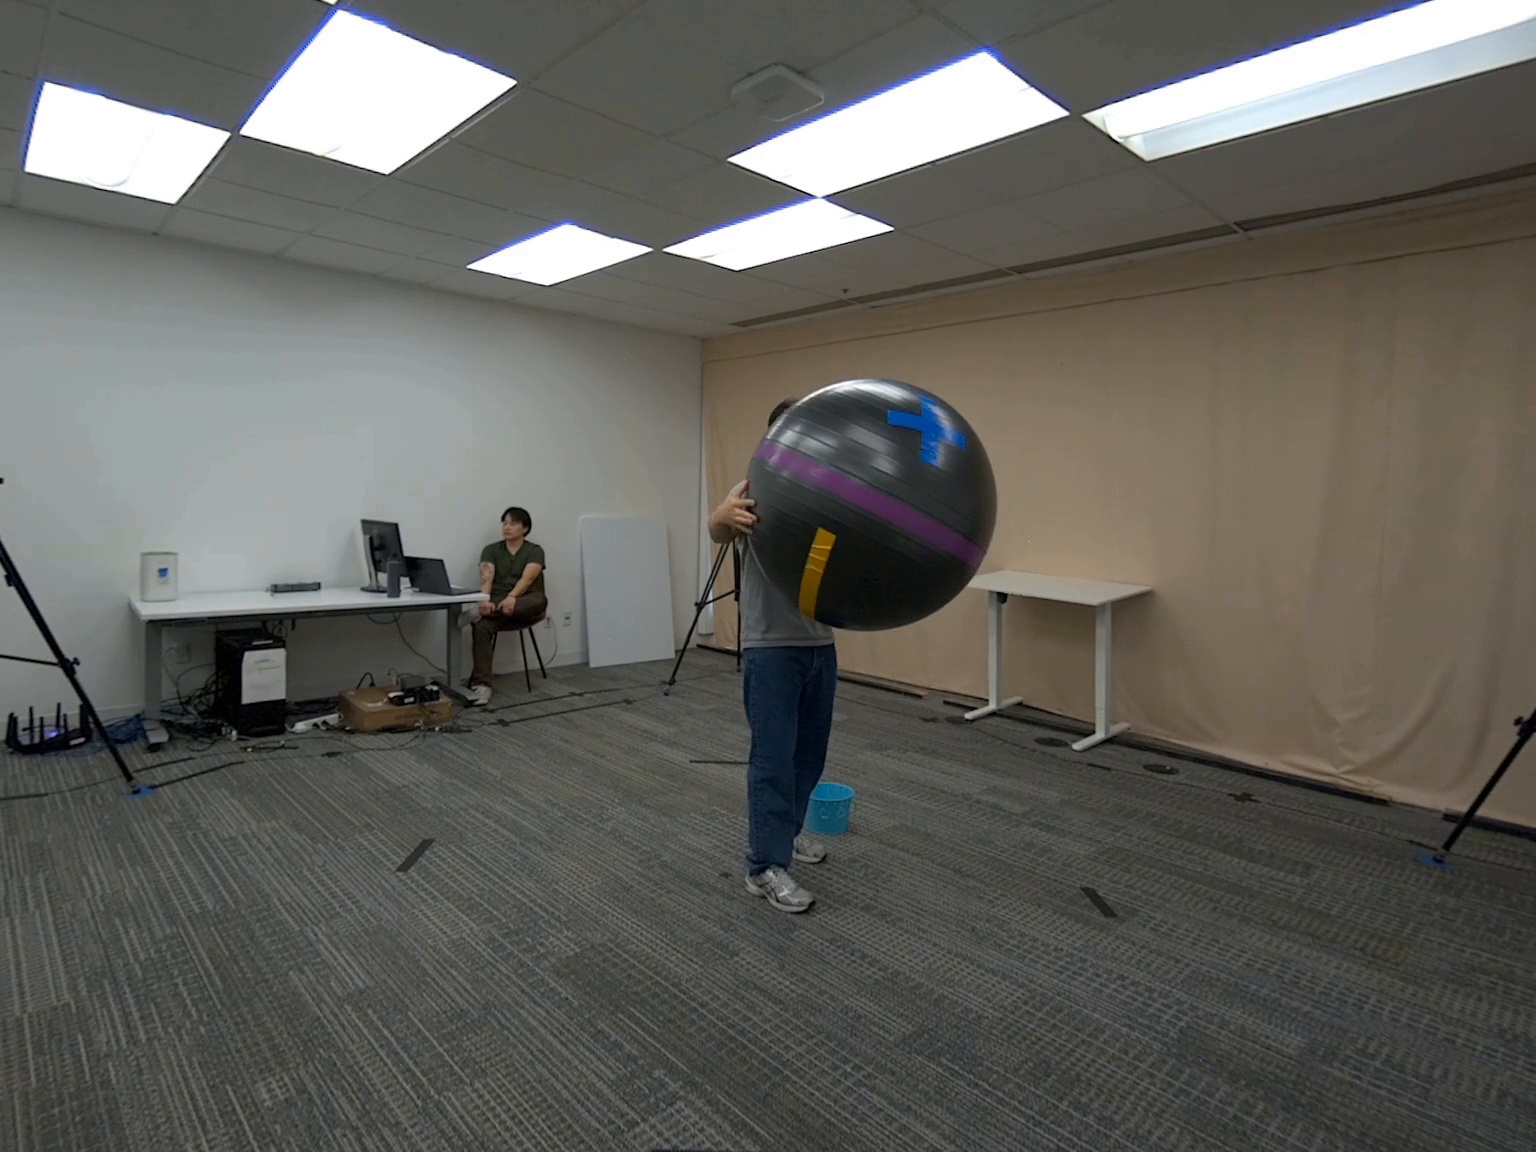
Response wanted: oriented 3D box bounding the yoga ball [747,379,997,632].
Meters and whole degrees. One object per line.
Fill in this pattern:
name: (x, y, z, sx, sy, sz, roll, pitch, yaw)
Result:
yoga ball: (0.323, -0.202, 2.560, 0.757, 0.756, 0.761, 1, 4, -1)
